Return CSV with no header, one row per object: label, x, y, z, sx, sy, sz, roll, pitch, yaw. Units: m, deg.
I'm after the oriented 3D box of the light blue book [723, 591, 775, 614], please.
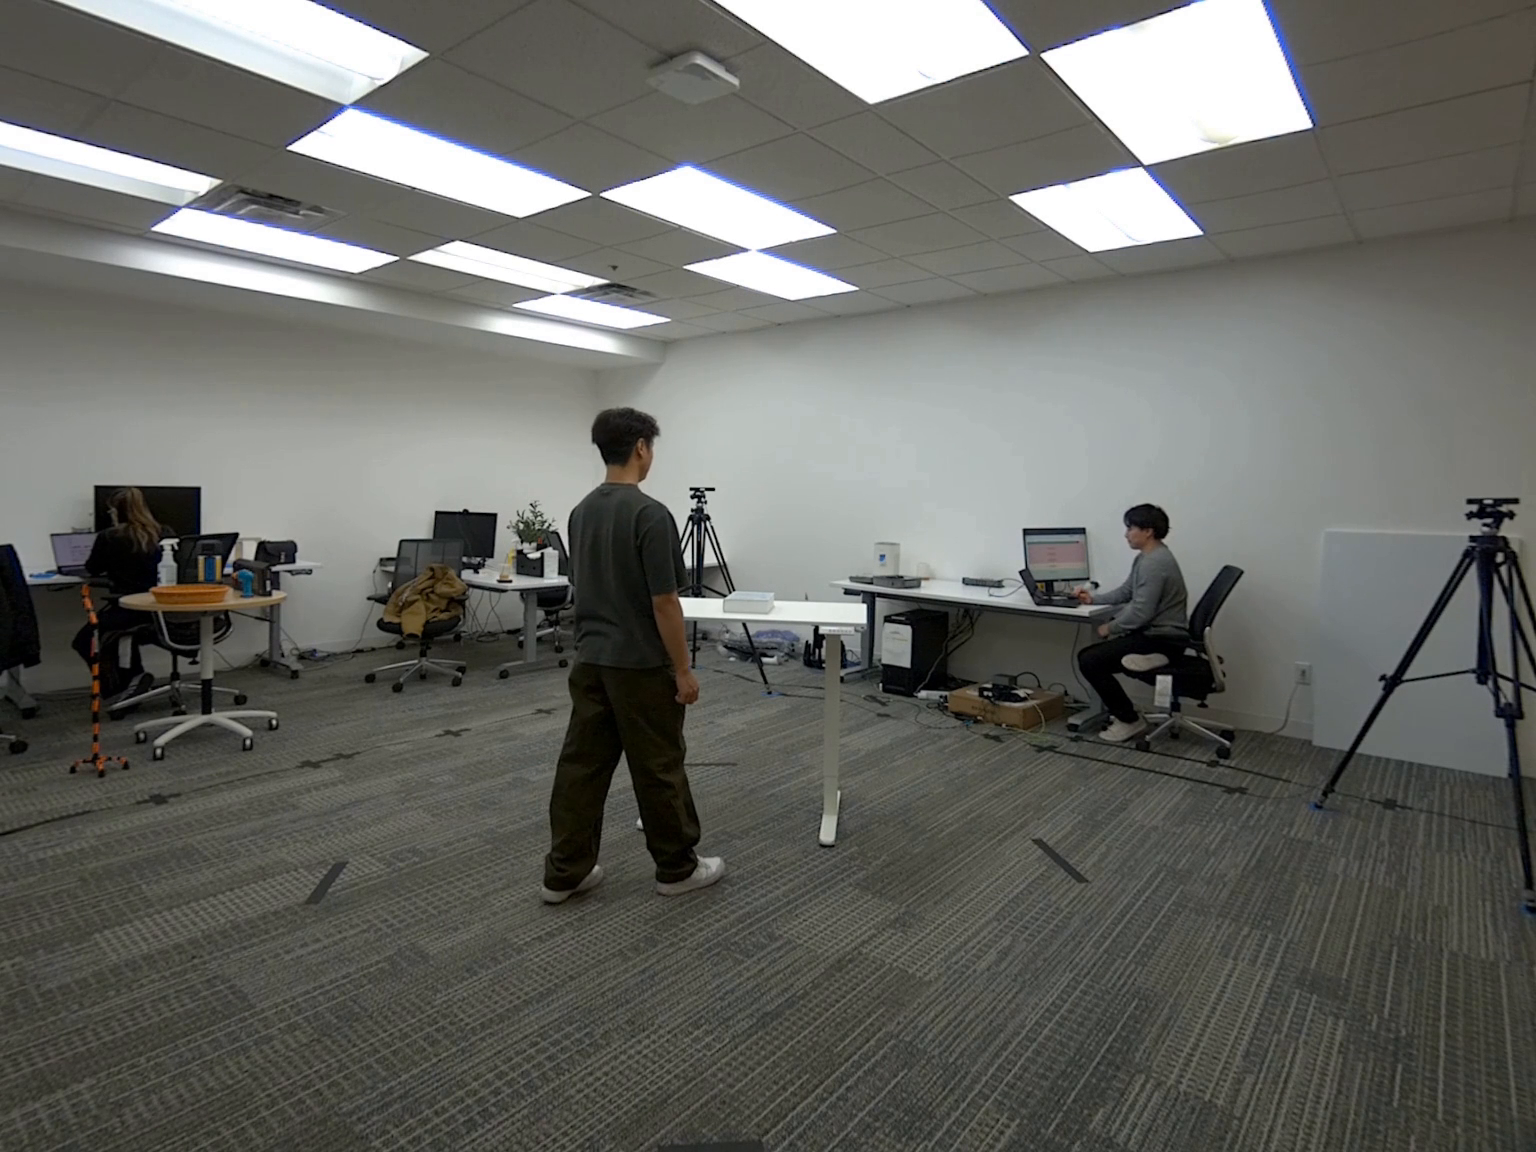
light blue book,-0.092,0.110,3.616,0.193,0.059,0.260,2,6,5
